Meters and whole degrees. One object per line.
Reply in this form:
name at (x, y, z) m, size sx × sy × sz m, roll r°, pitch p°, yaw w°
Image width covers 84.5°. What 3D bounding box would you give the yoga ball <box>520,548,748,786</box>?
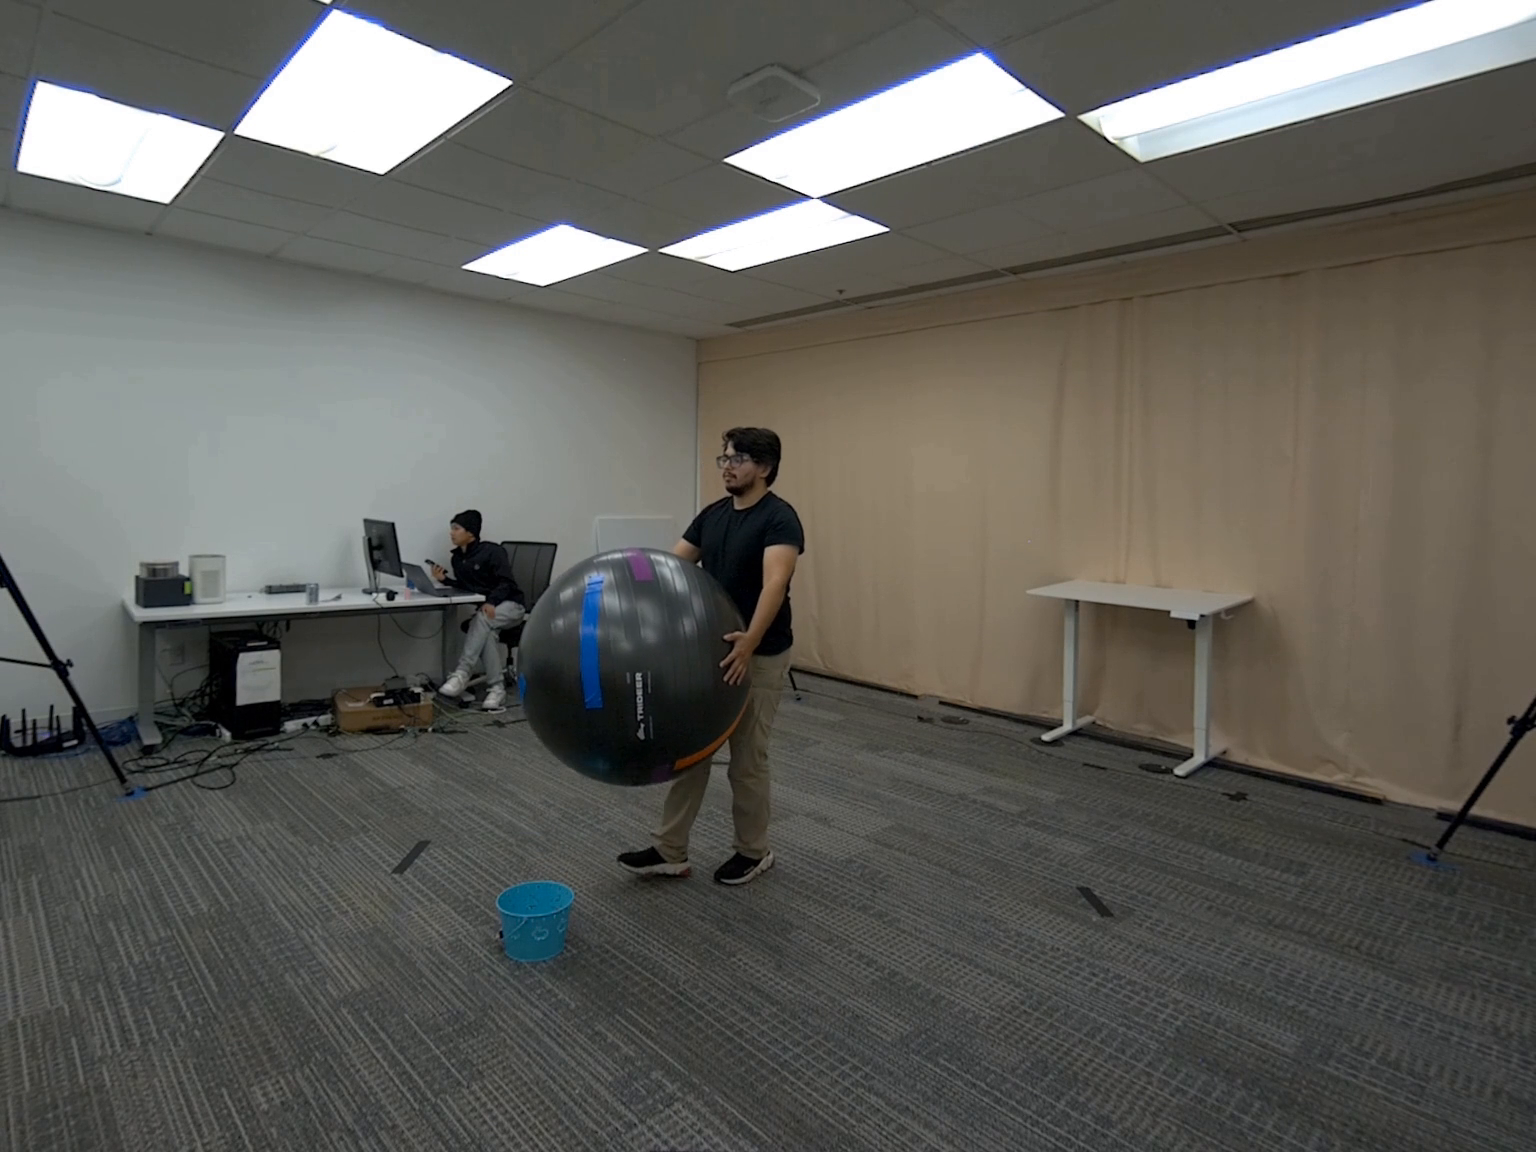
yoga ball at (-0.442, 0.302, 2.732) m, size 0.757 × 0.756 × 0.761 m, roll 1°, pitch 4°, yaw -1°
